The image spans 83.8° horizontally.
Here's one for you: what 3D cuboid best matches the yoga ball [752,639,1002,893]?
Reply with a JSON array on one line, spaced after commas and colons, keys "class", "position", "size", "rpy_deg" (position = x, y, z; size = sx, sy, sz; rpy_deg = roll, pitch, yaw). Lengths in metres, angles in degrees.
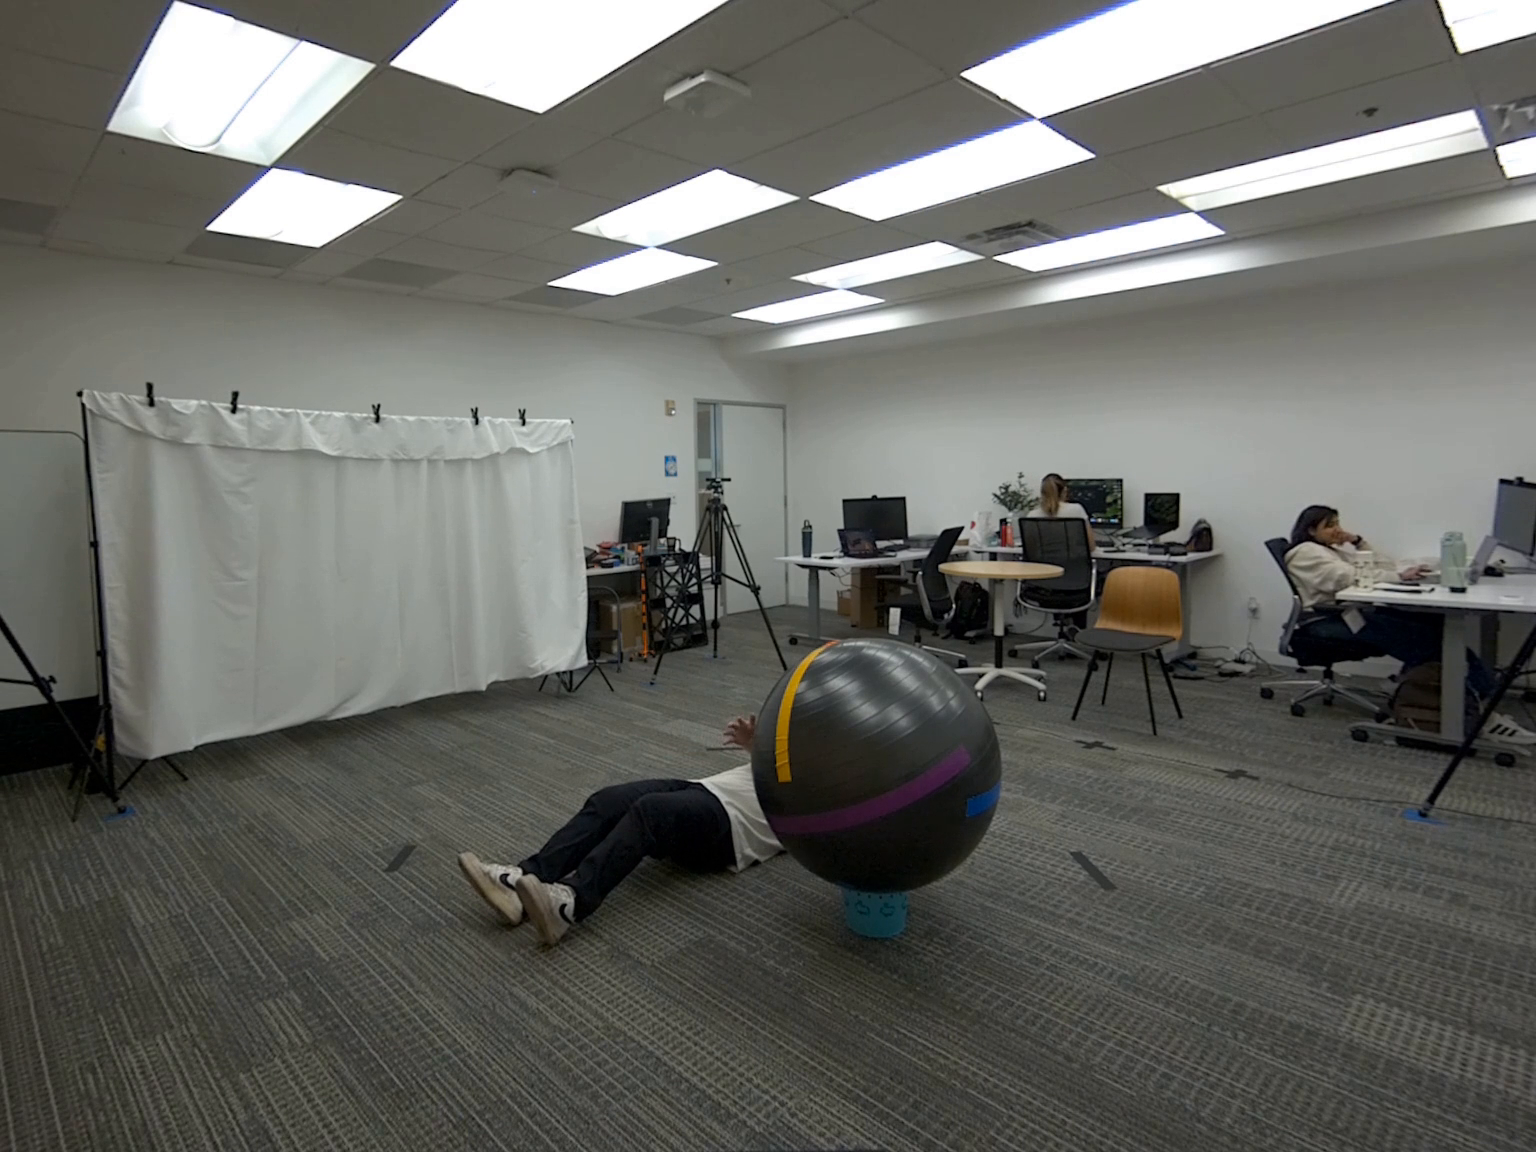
[{"class": "yoga ball", "position": [0.330, 0.579, 2.635], "size": [0.757, 0.755, 0.762], "rpy_deg": [-1, 5, -2]}]
